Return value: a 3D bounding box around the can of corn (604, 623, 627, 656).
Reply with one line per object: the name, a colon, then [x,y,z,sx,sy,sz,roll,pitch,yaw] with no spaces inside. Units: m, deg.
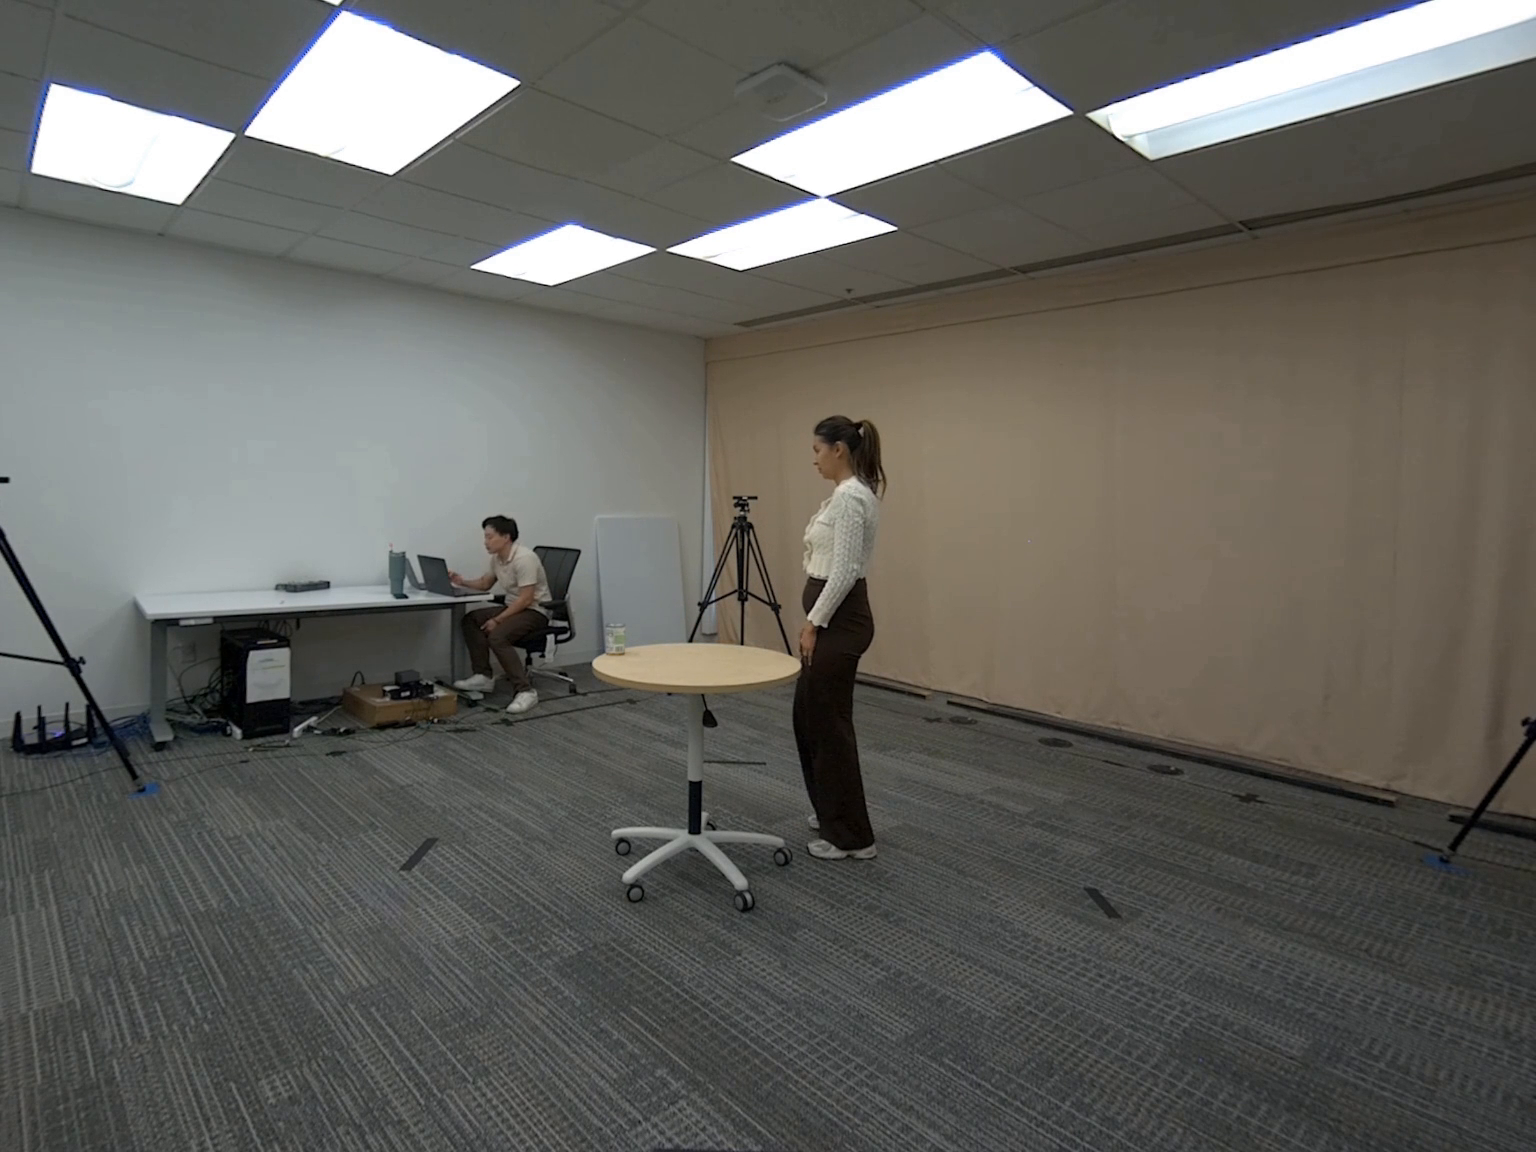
can of corn: [-0.585,0.245,3.213,0.074,0.111,0.074,-2,0,-1]
